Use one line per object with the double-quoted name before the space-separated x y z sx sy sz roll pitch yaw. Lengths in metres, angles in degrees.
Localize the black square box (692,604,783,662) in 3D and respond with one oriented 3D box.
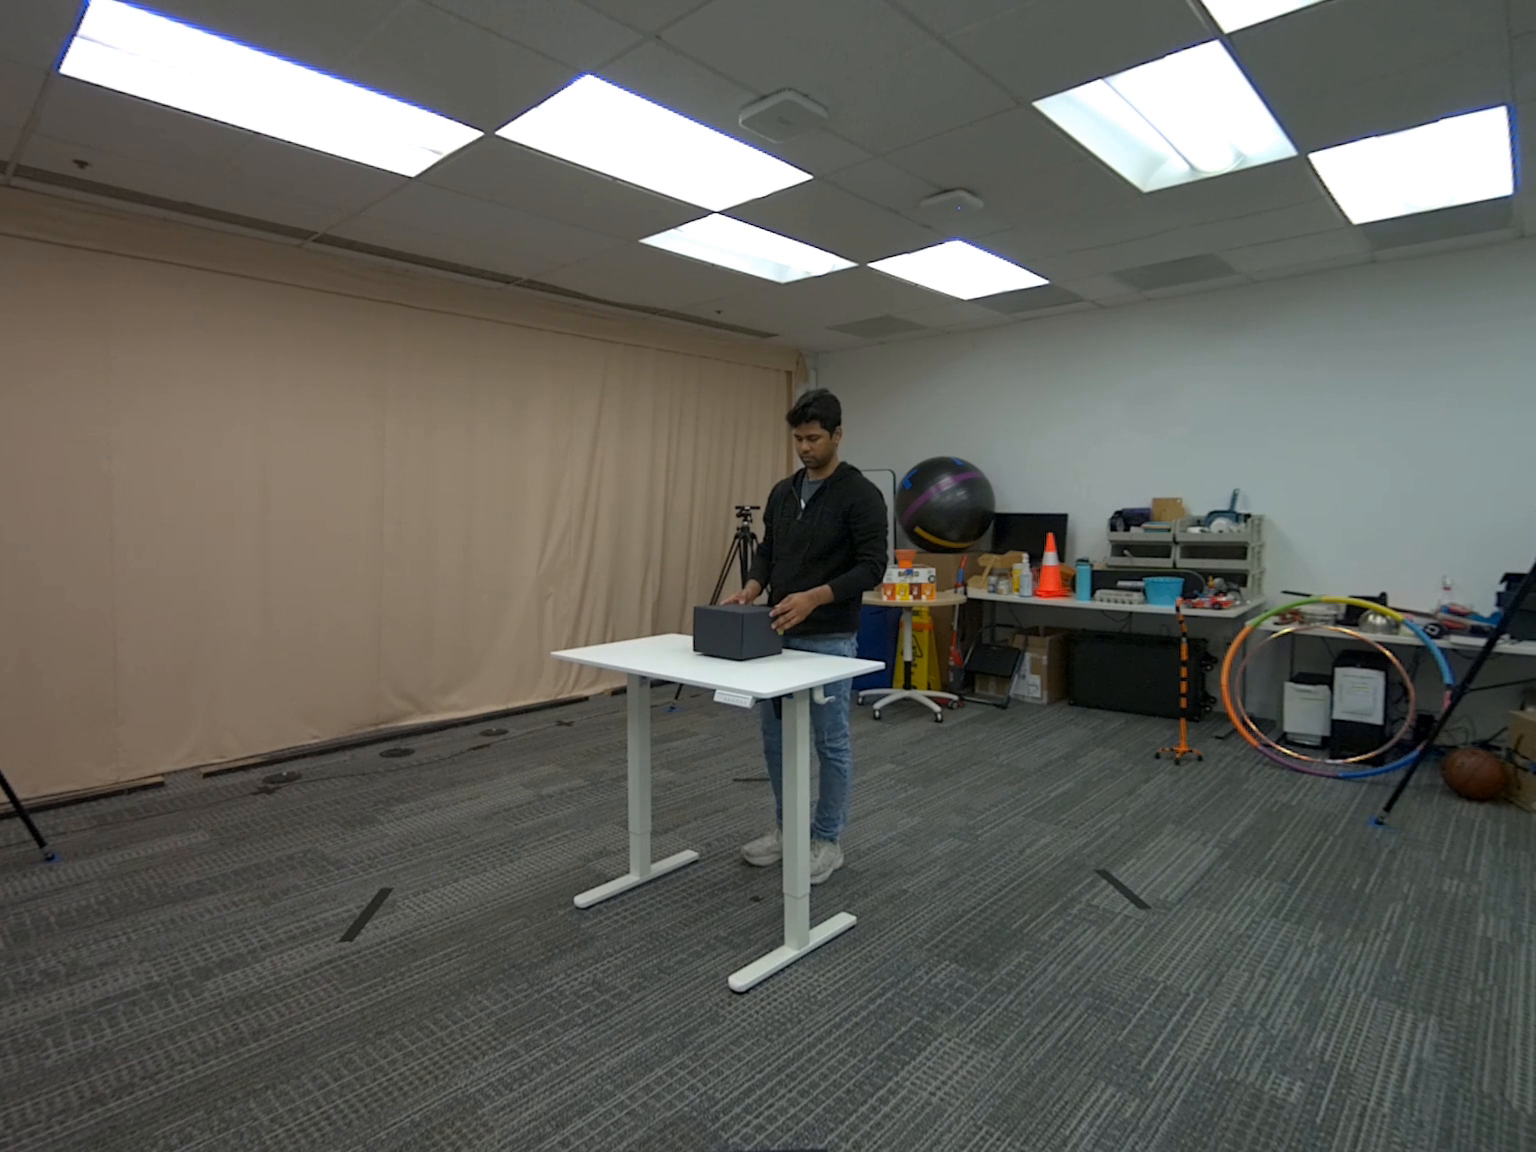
"black square box" -0.101 0.183 2.891 0.235 0.156 0.210 5 4 41
